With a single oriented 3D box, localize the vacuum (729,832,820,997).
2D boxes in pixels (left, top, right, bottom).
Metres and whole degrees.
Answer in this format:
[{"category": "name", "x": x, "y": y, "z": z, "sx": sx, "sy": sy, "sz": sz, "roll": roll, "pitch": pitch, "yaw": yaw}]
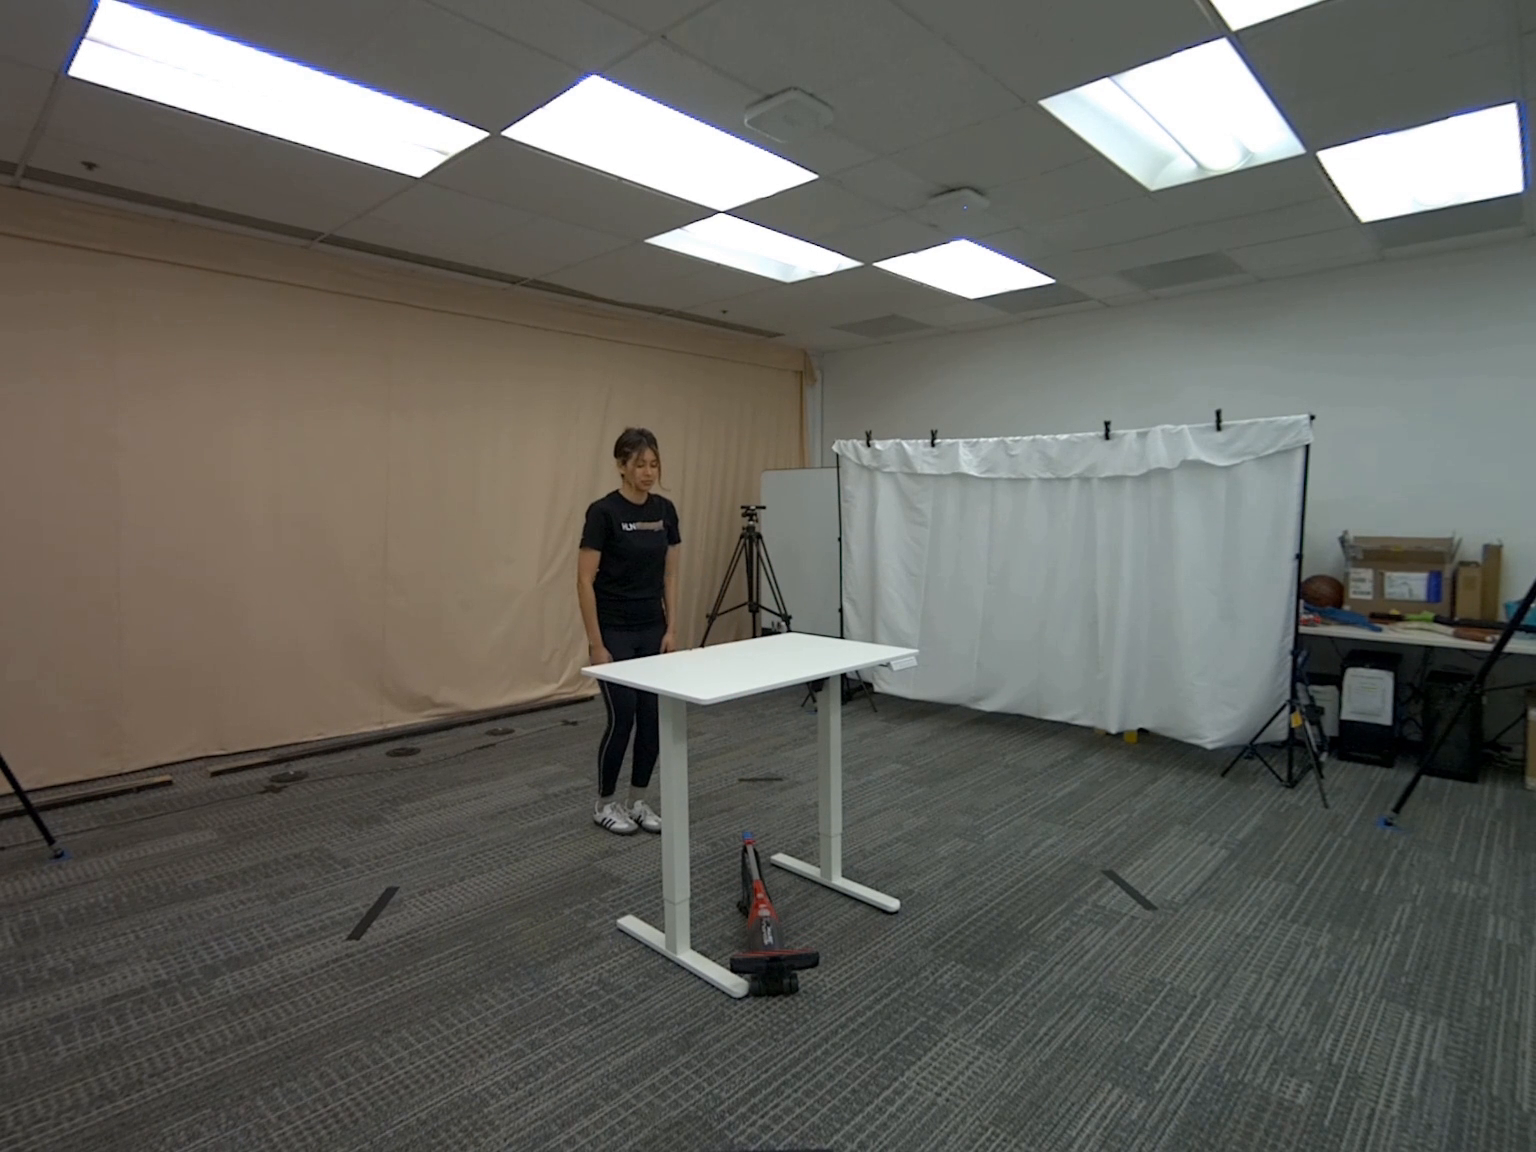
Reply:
[{"category": "vacuum", "x": -0.037, "y": 1.086, "z": 2.885, "sx": 0.251, "sy": 0.144, "sz": 1.056, "roll": -2, "pitch": 3, "yaw": -6}]
